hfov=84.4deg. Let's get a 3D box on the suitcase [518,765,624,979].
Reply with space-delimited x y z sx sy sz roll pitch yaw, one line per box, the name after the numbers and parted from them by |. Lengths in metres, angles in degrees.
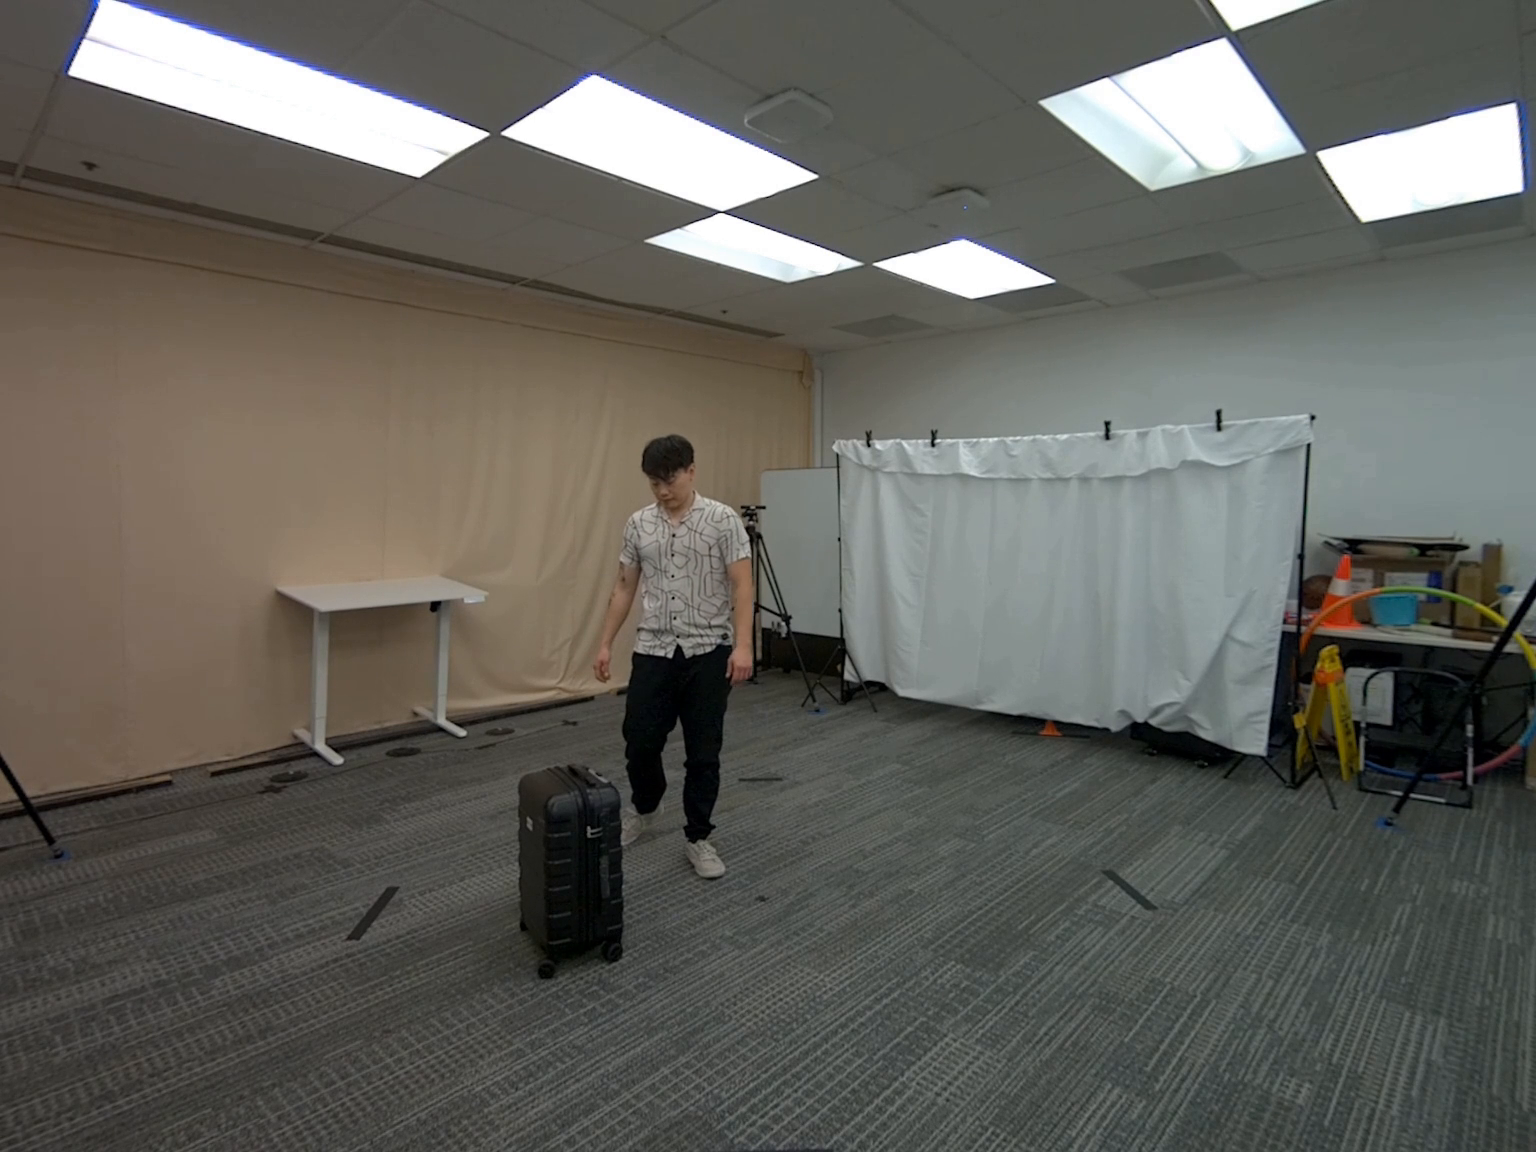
-0.631 0.898 2.666 0.242 0.548 0.386 -2 4 -30 | suitcase
